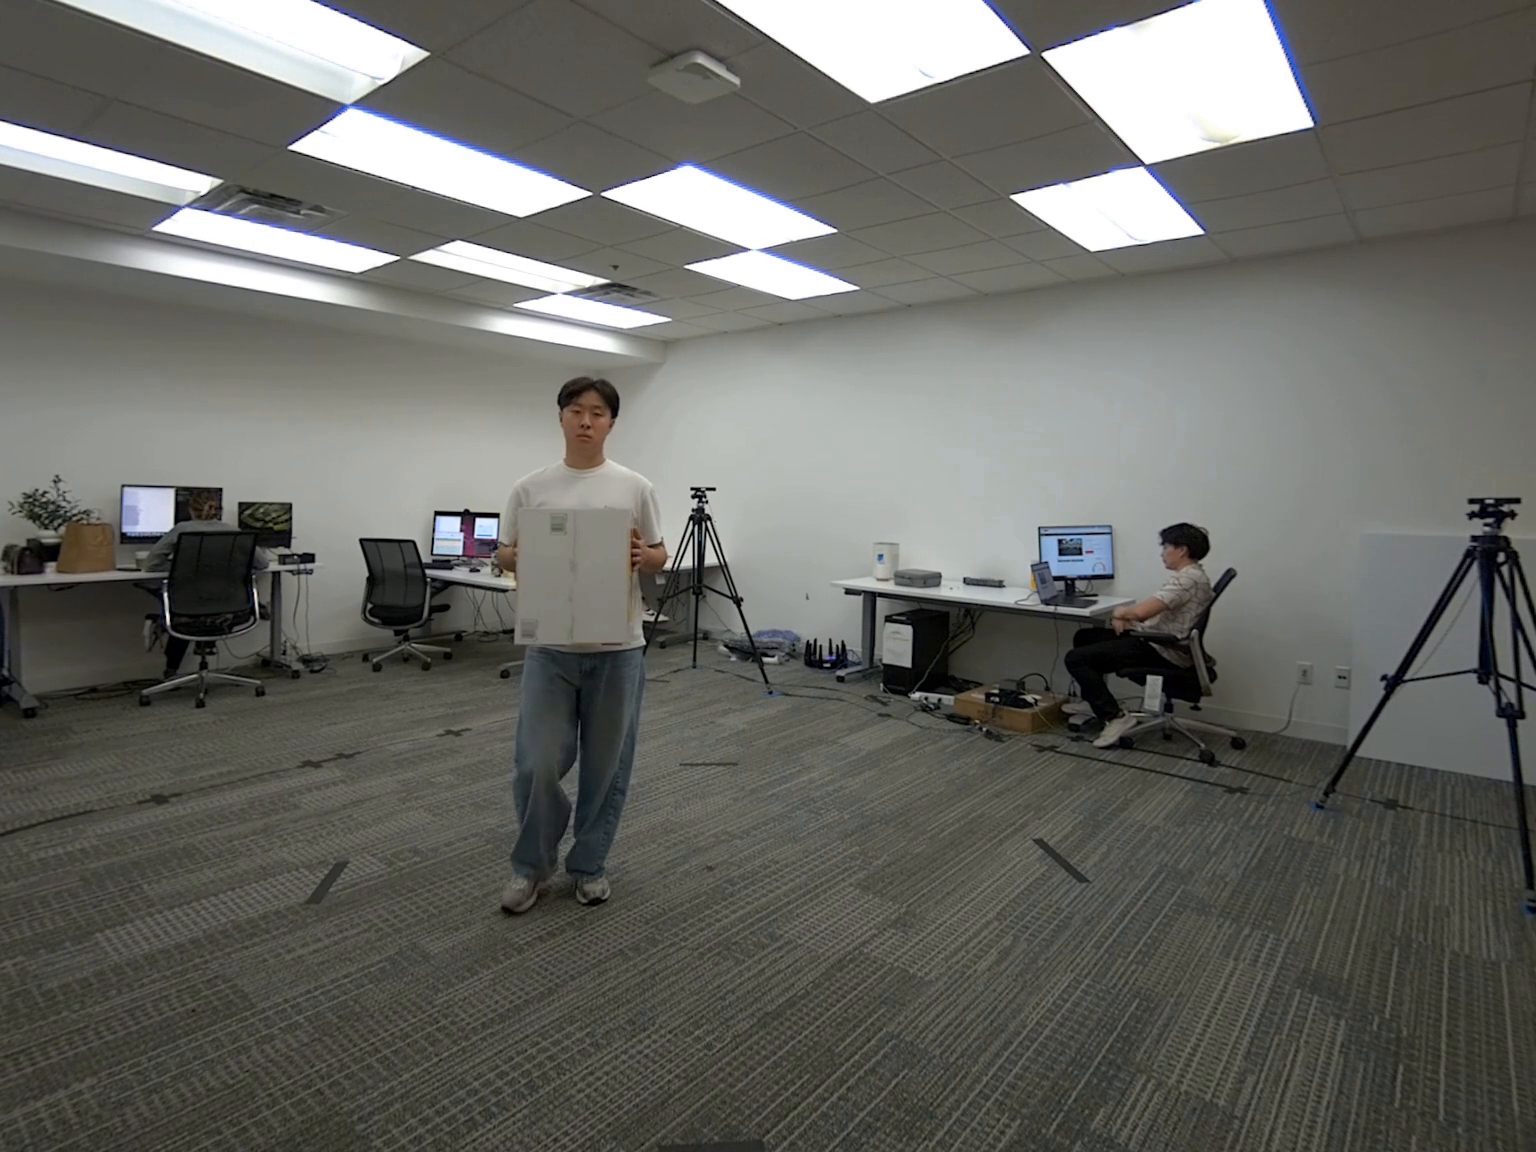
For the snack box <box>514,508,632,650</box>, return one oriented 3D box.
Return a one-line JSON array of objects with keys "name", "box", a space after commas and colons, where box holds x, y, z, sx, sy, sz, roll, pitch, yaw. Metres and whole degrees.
[{"name": "snack box", "box": [-0.594, 0.003, 2.585, 0.339, 0.407, 0.205, 0, -5, -4]}]
